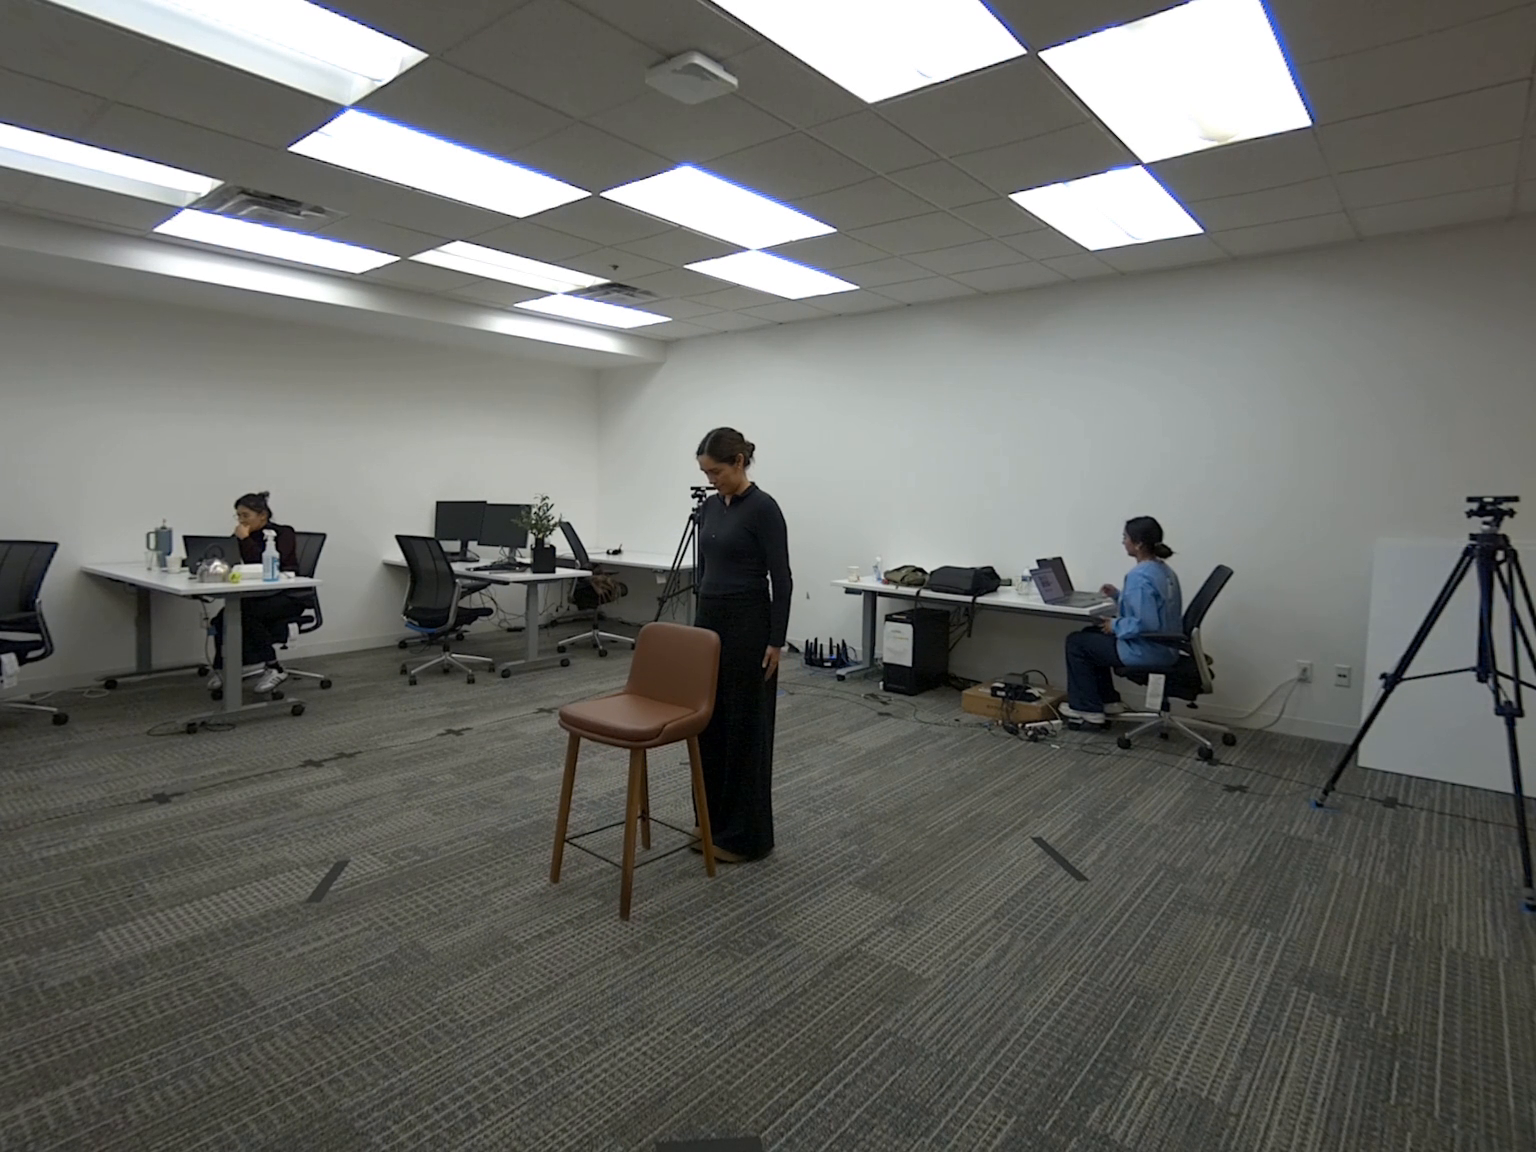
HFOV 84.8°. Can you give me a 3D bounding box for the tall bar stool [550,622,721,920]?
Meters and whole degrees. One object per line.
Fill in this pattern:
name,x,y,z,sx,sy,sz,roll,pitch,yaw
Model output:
tall bar stool,-0.464,0.633,2.995,0.472,0.889,0.453,4,2,41
